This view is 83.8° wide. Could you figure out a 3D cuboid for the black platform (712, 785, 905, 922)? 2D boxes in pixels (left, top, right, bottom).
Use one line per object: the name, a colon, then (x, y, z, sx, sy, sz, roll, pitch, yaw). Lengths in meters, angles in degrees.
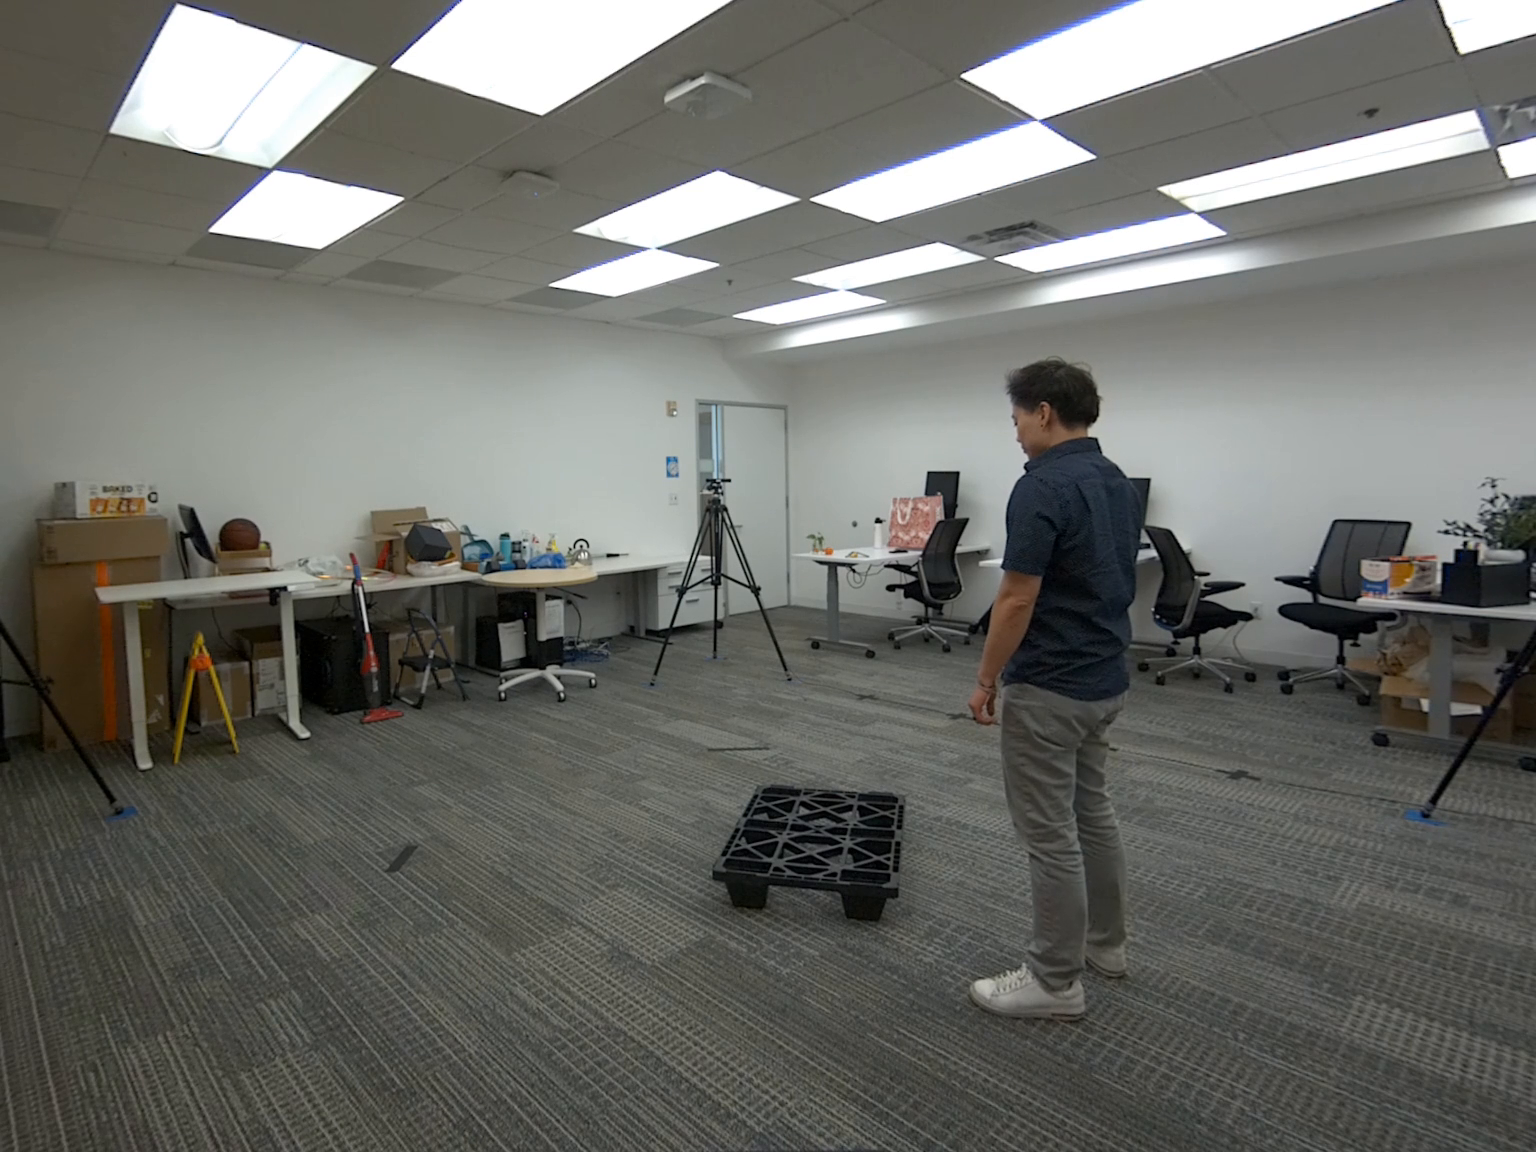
black platform: (0.181, 0.975, 3.084, 0.613, 0.143, 0.799, 0, 6, 12)
